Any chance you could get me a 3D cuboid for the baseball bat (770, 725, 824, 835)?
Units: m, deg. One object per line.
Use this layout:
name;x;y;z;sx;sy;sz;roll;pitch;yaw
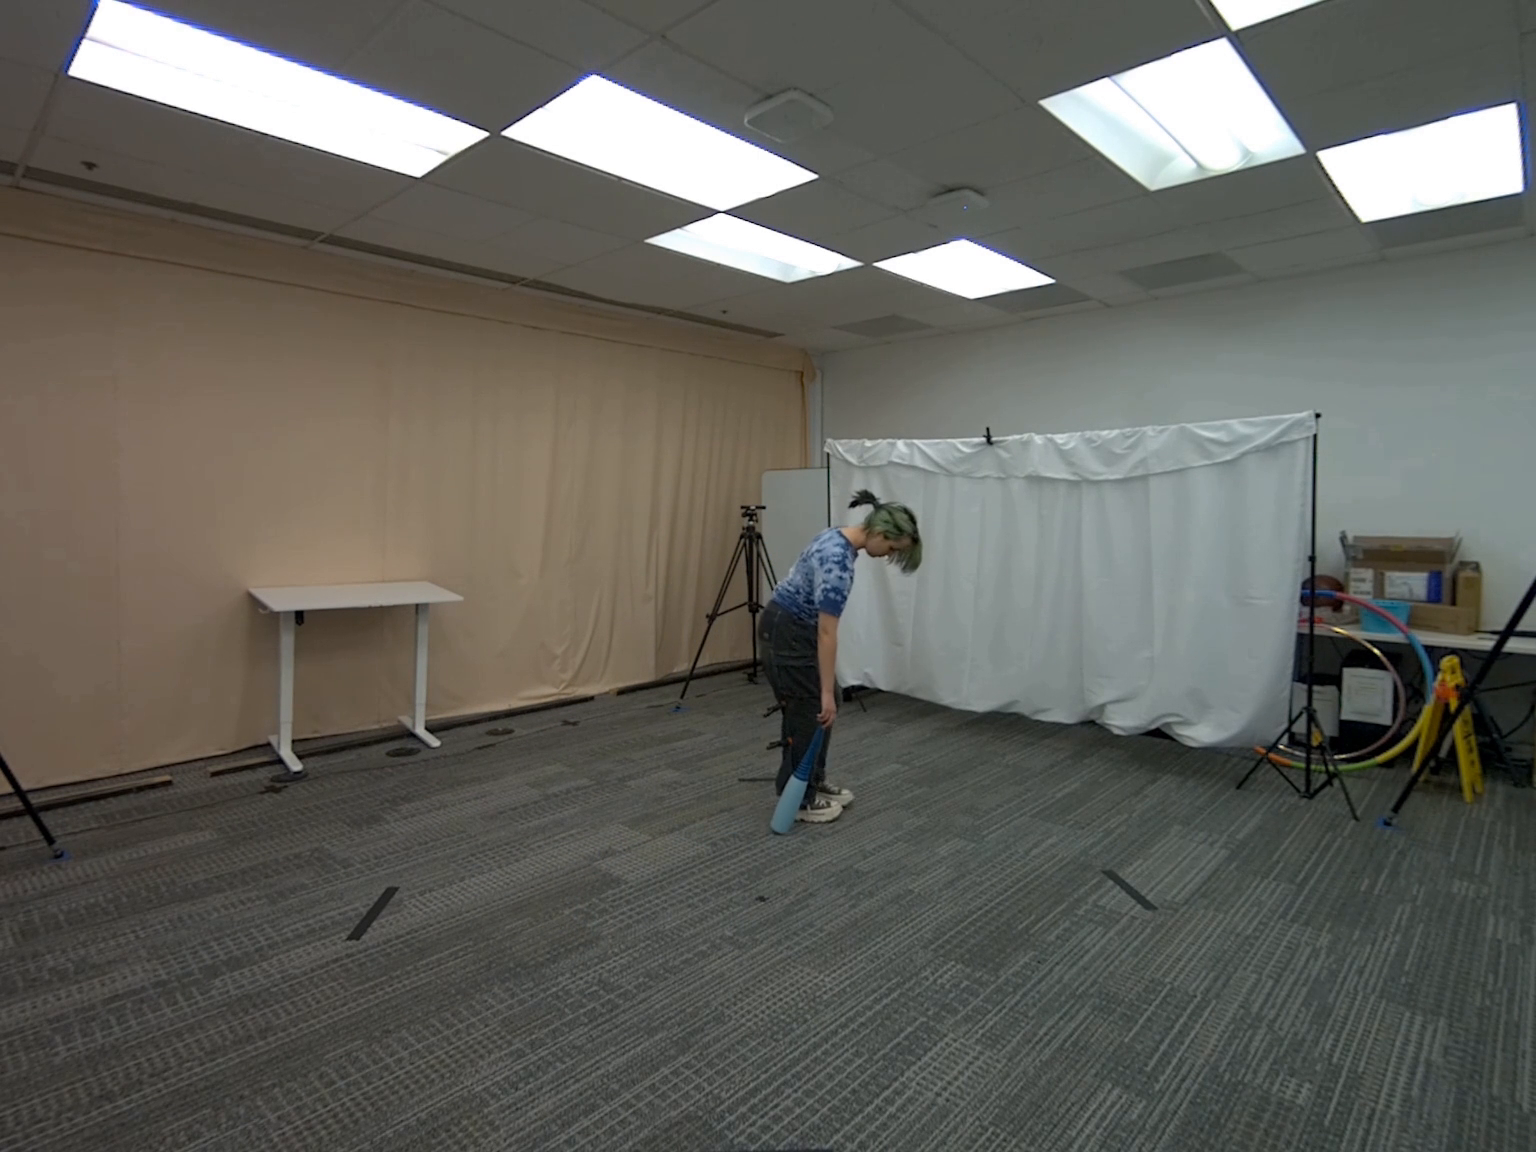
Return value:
baseball bat;0.141;0.831;3.561;0.089;0.542;0.089;20;6;-4
